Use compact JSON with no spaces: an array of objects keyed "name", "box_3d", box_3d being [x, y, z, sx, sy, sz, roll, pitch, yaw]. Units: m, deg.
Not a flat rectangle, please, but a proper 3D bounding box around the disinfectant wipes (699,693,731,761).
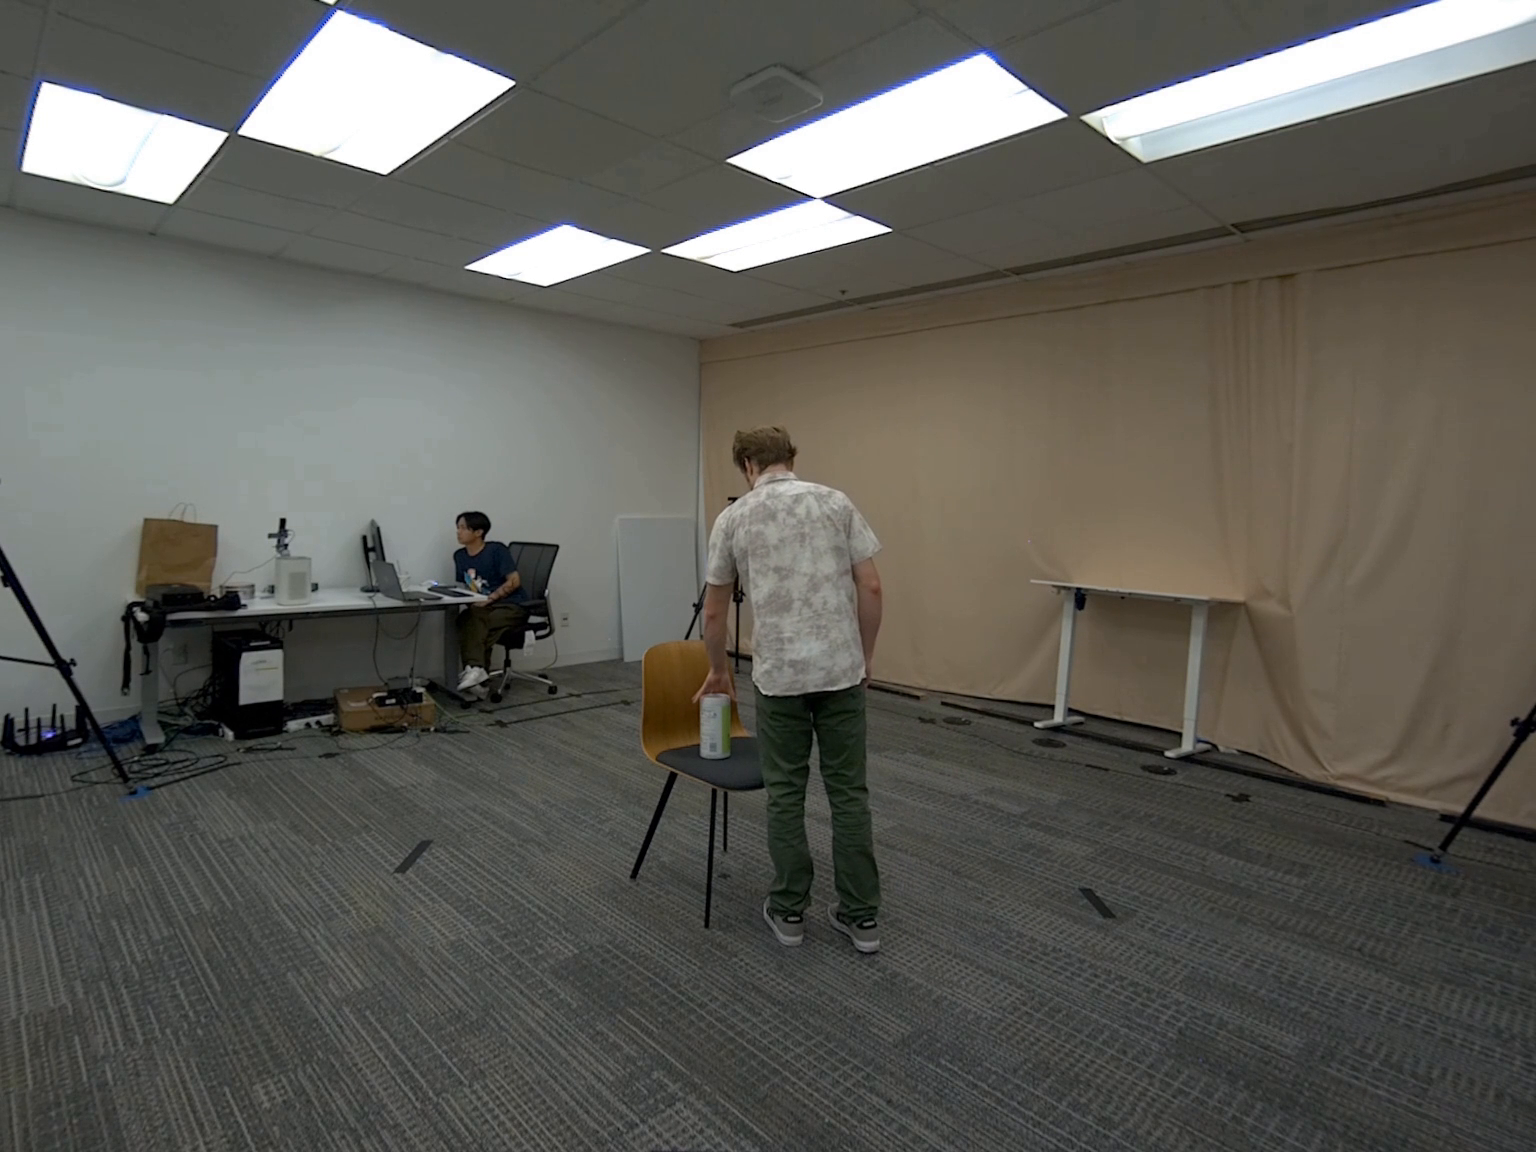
[{"name":"disinfectant wipes","box_3d":[-0.205,0.540,3.005,0.118,0.217,0.118,-1,0,-1]}]
